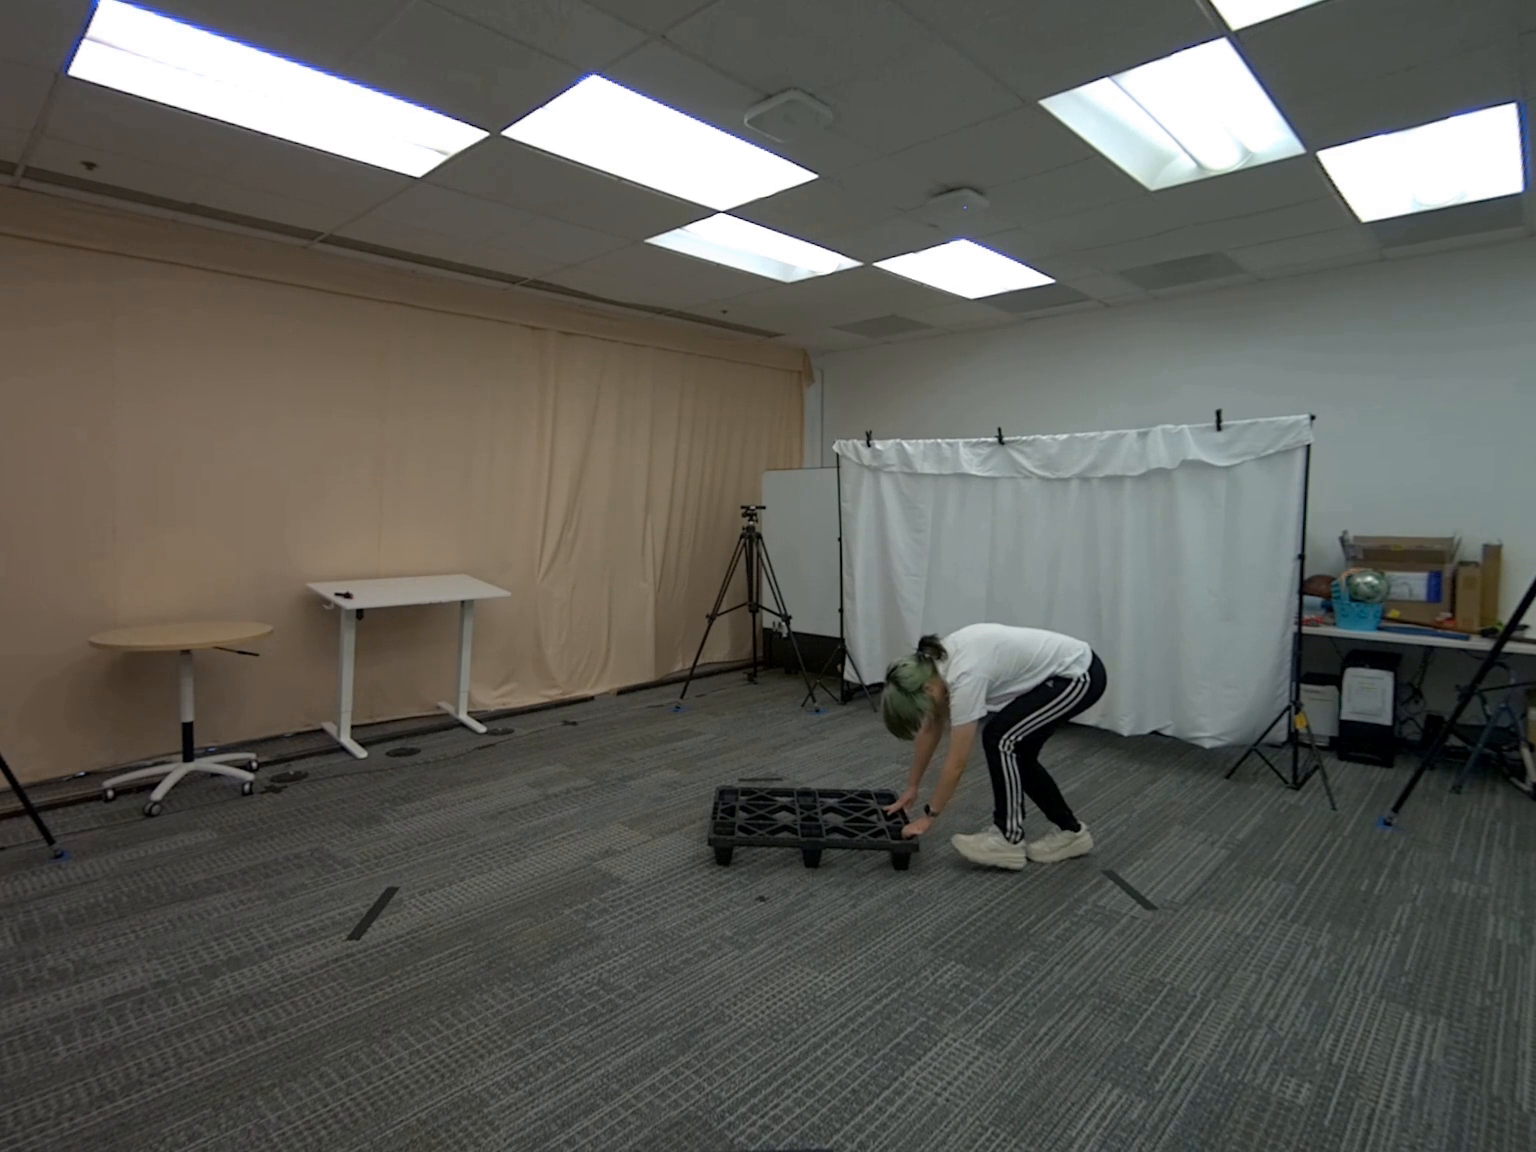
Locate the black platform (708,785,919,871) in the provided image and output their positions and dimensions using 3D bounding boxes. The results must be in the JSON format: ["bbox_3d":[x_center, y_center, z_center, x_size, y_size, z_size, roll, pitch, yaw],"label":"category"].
[{"bbox_3d":[0.168,1.037,3.466,0.808,0.143,0.604,0,4,2],"label":"black platform"}]
